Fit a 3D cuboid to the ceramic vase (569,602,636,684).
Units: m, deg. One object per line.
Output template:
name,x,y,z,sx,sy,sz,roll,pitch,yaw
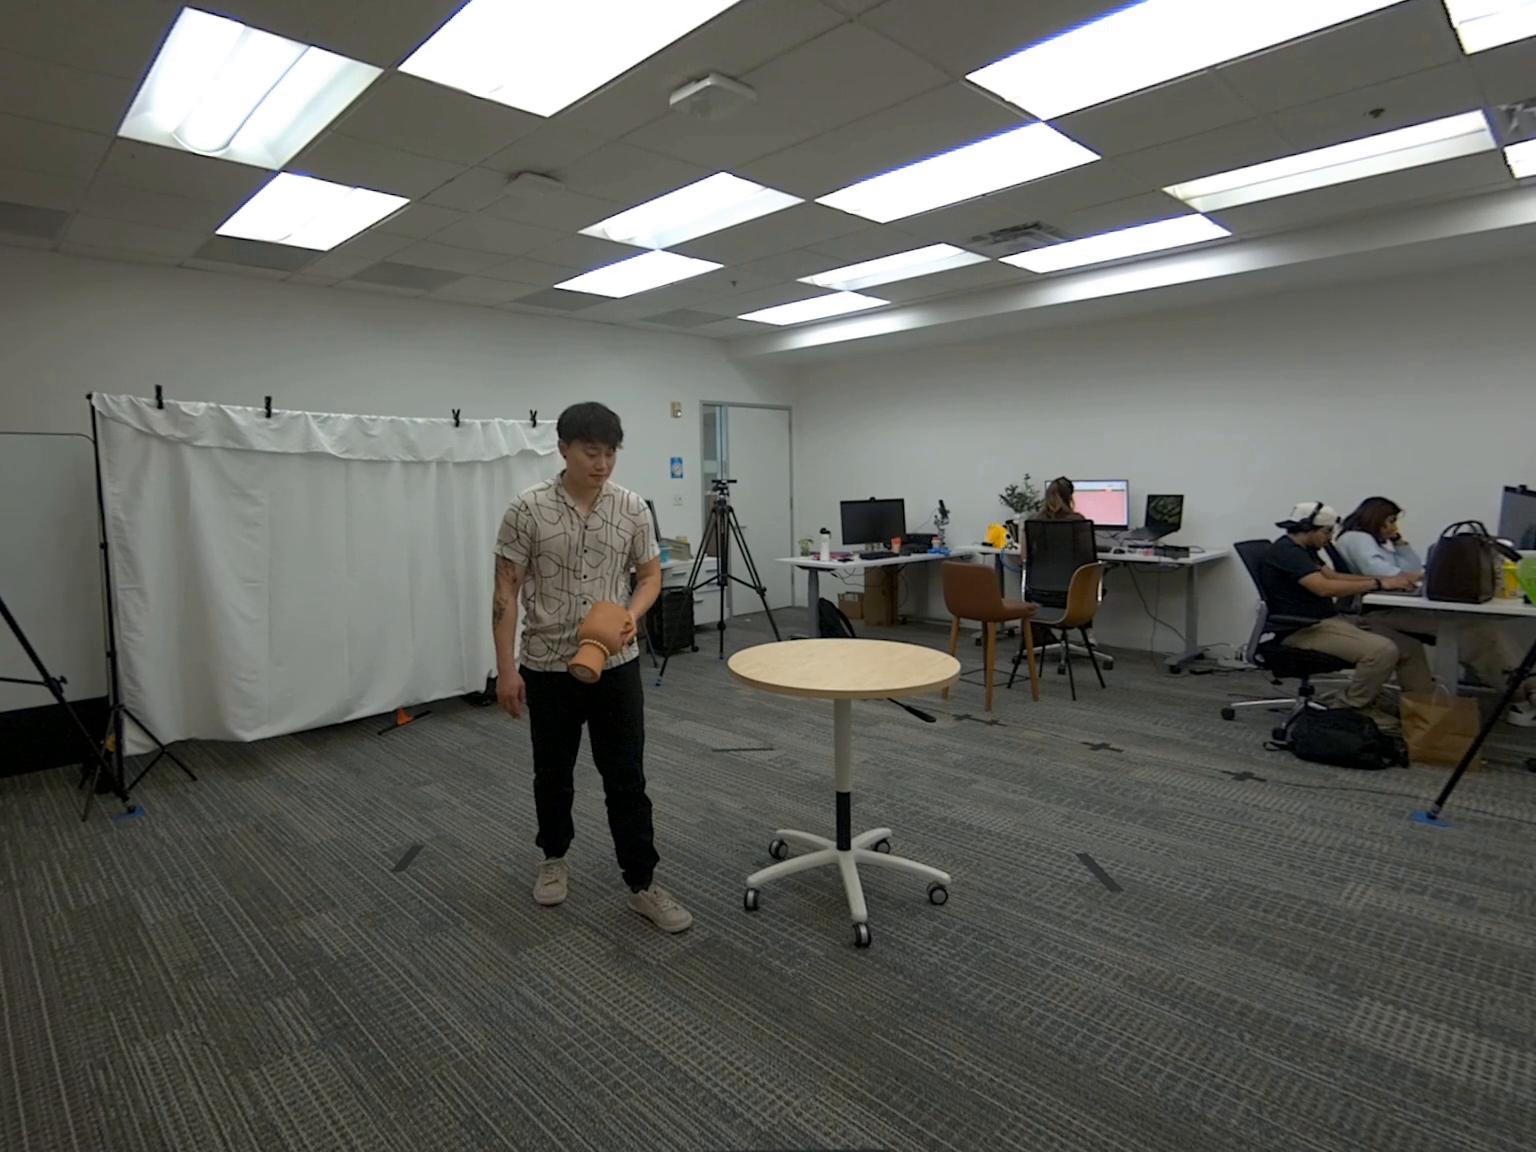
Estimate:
ceramic vase,-0.497,0.202,2.540,0.132,0.223,0.159,30,-40,-15
